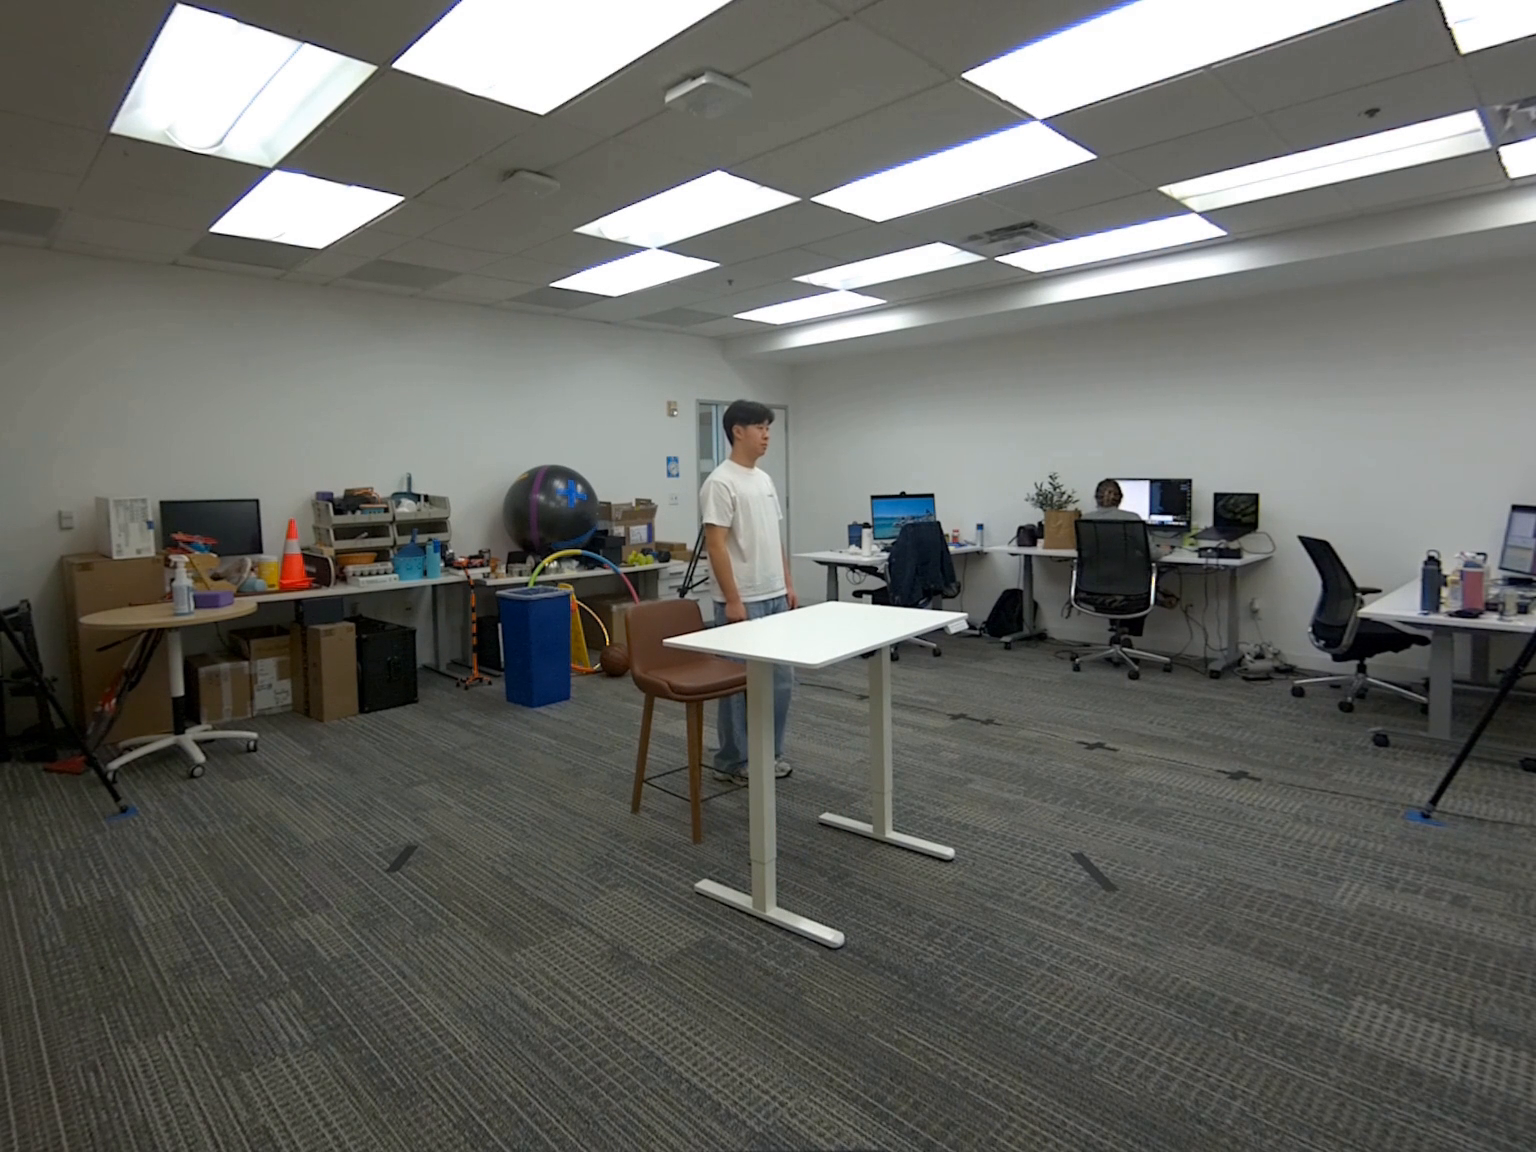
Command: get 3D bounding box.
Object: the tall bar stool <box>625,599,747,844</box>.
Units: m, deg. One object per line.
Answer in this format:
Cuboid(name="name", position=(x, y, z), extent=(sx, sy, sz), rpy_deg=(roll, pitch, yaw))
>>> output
Cuboid(name="tall bar stool", position=(-0.303, 0.564, 3.546), extent=(0.444, 0.888, 0.481), rpy_deg=(-4, 3, -43))
